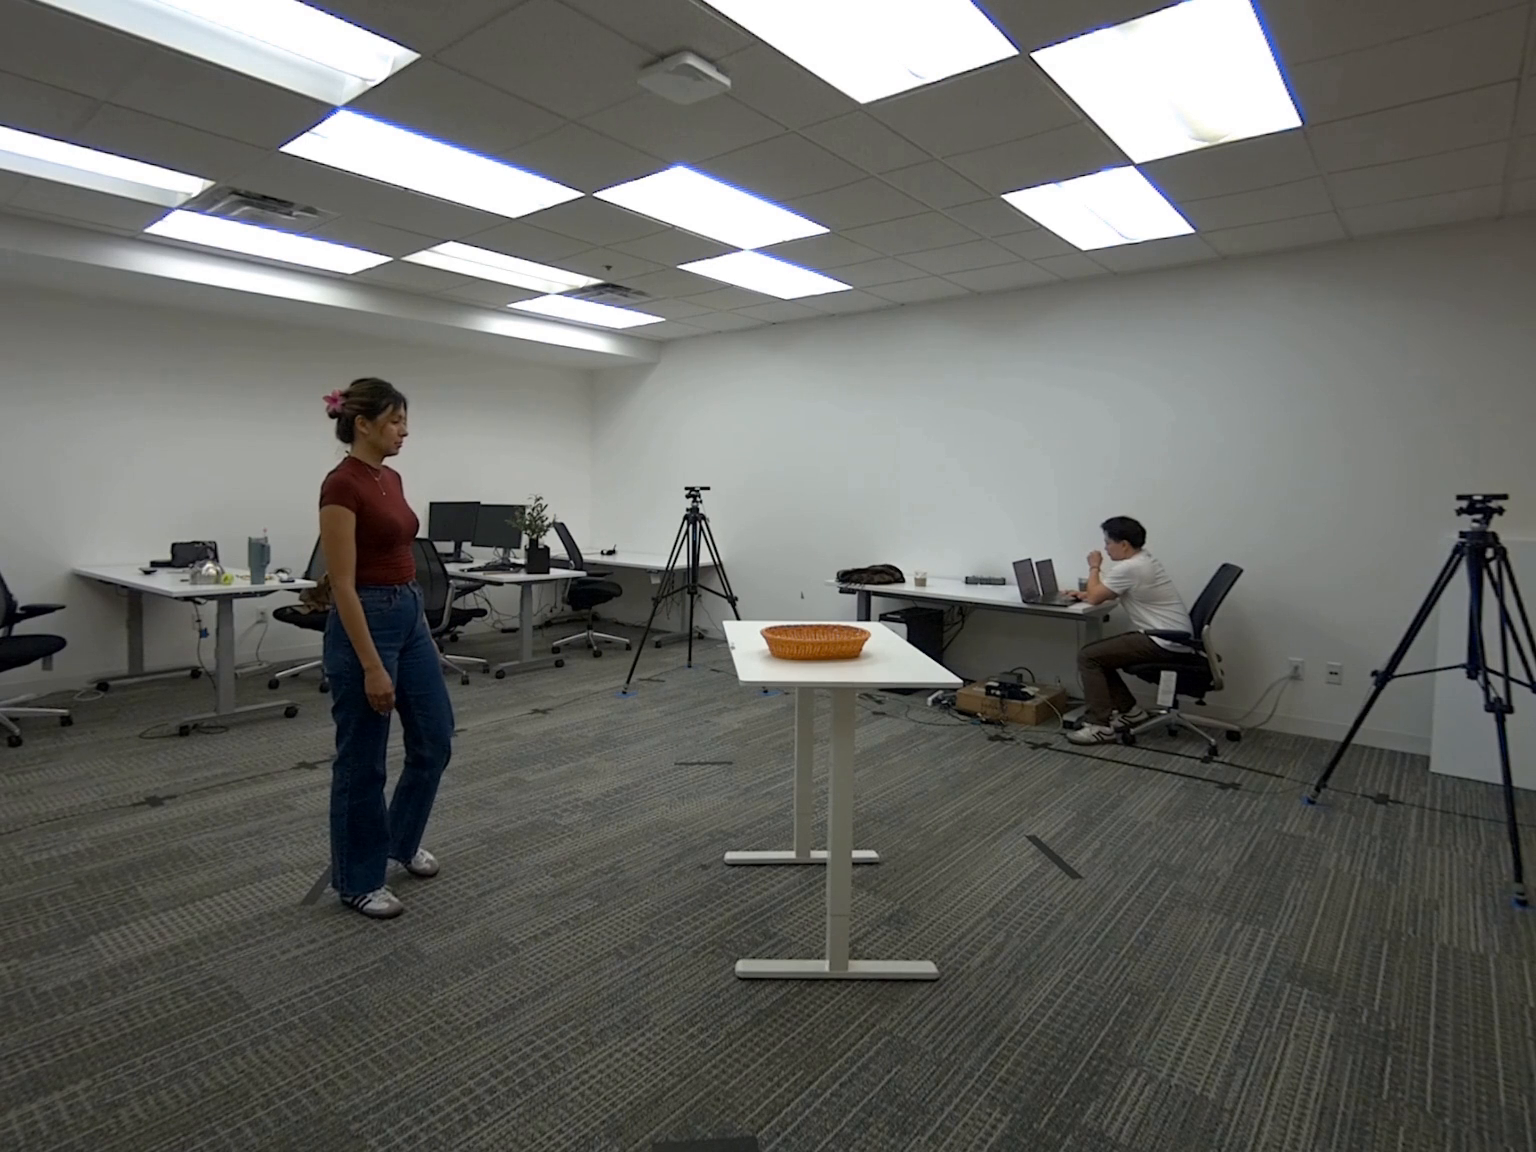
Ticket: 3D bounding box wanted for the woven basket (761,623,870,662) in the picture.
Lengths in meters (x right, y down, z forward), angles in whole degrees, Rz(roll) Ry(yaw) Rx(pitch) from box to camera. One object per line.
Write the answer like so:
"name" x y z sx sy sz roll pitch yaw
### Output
"woven basket" 0.139 0.210 2.612 0.347 0.073 0.256 -1 7 -10
